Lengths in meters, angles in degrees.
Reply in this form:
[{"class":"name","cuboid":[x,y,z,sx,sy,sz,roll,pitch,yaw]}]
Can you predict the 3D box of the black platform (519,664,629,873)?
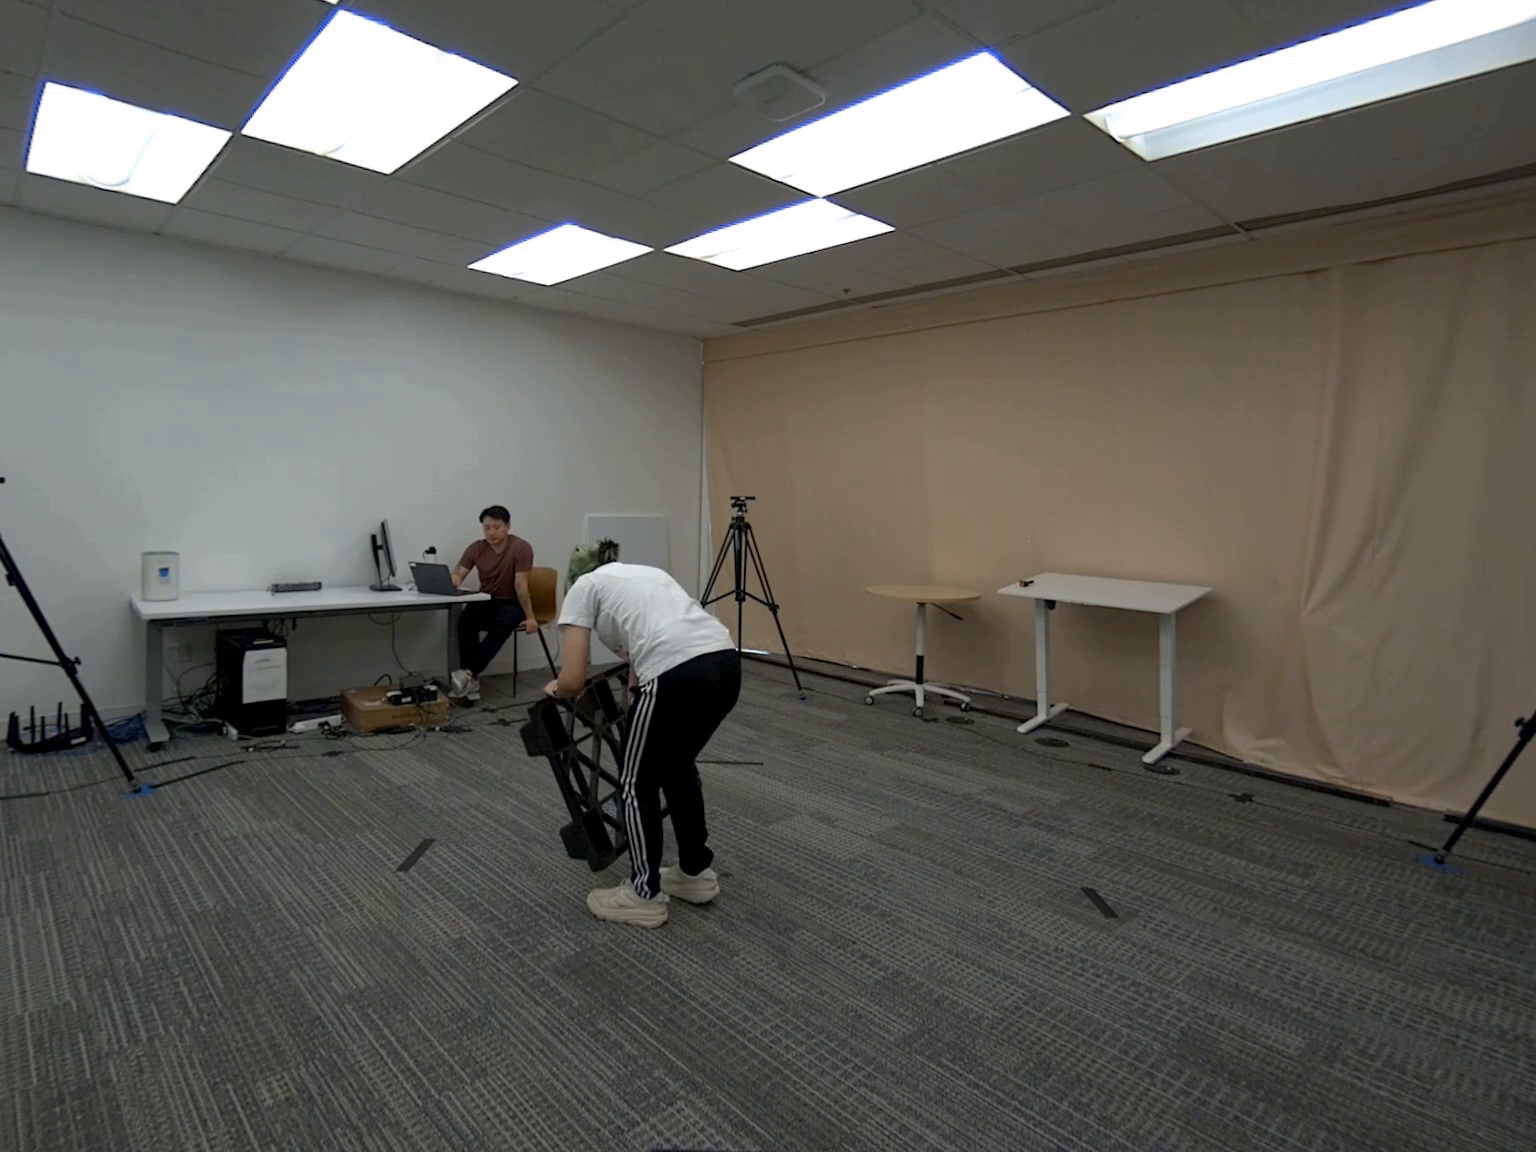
[{"class":"black platform","cuboid":[-0.588,0.677,3.182,0.145,0.607,0.796,-23,-2,22]}]
